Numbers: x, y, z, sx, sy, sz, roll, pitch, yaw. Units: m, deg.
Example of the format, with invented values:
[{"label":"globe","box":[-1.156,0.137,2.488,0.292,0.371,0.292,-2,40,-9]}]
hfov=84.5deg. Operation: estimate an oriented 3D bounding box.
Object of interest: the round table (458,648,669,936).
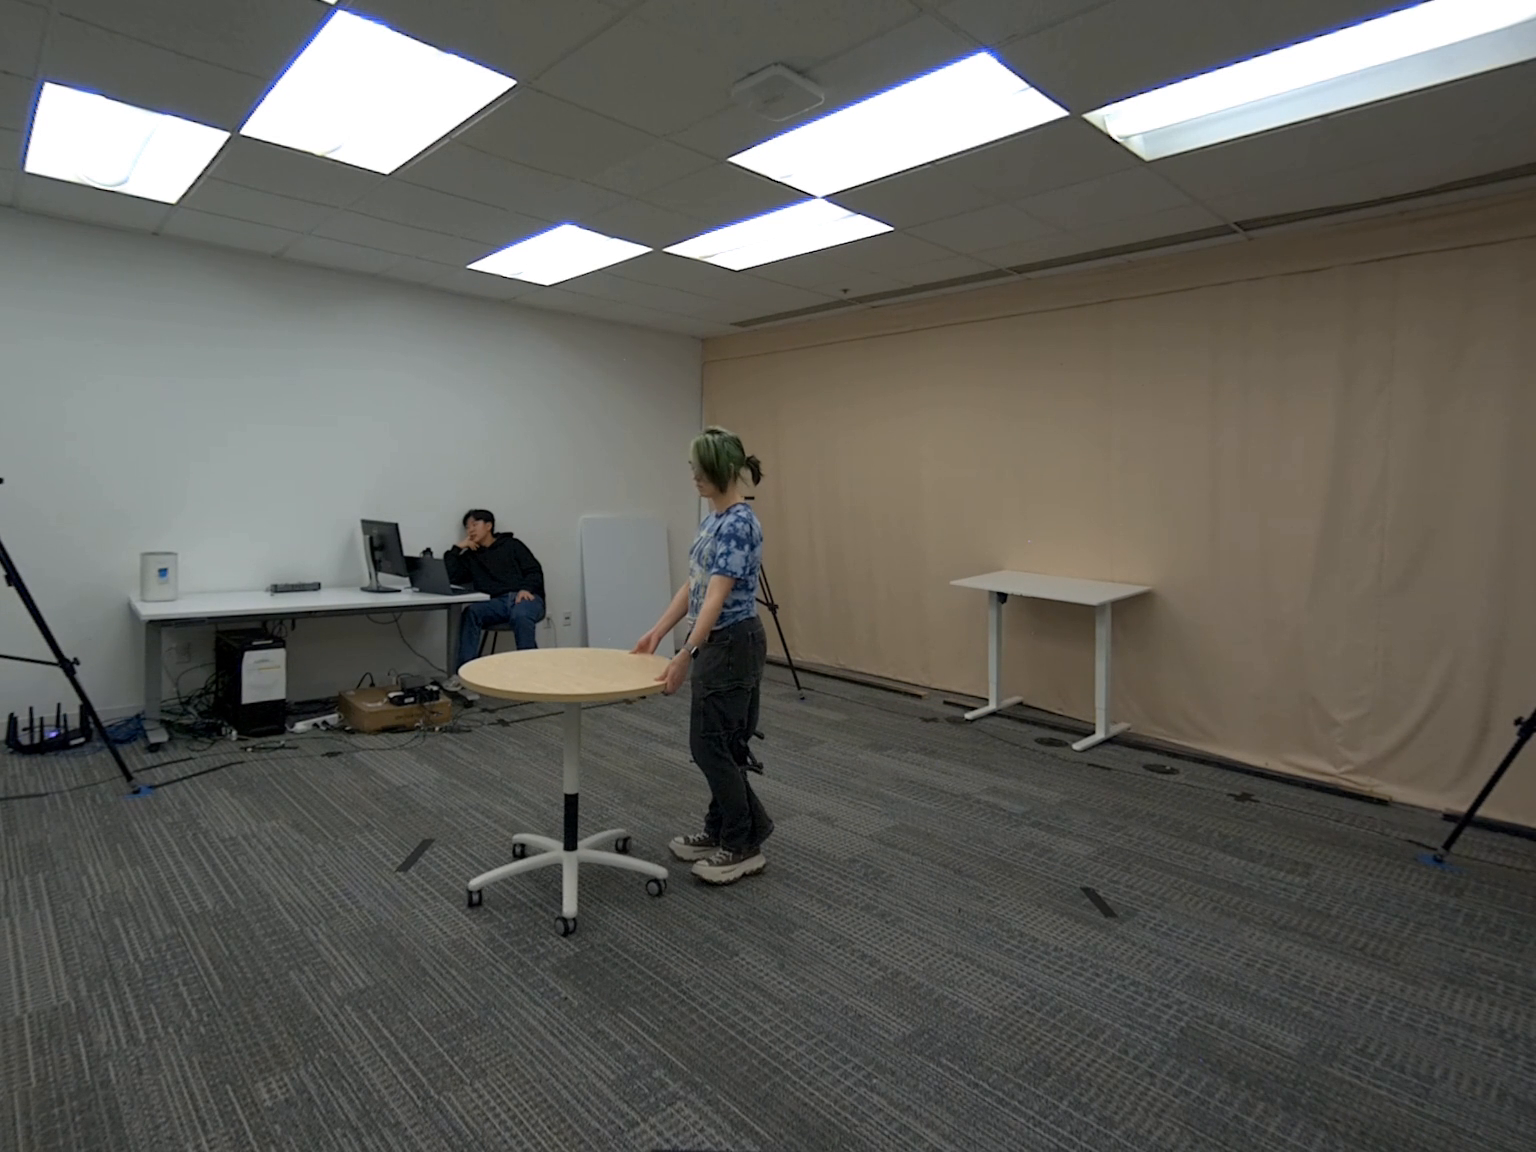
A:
[{"label":"round table","box":[-0.692,0.717,2.956,0.763,0.792,0.767,1,4,-1]}]
